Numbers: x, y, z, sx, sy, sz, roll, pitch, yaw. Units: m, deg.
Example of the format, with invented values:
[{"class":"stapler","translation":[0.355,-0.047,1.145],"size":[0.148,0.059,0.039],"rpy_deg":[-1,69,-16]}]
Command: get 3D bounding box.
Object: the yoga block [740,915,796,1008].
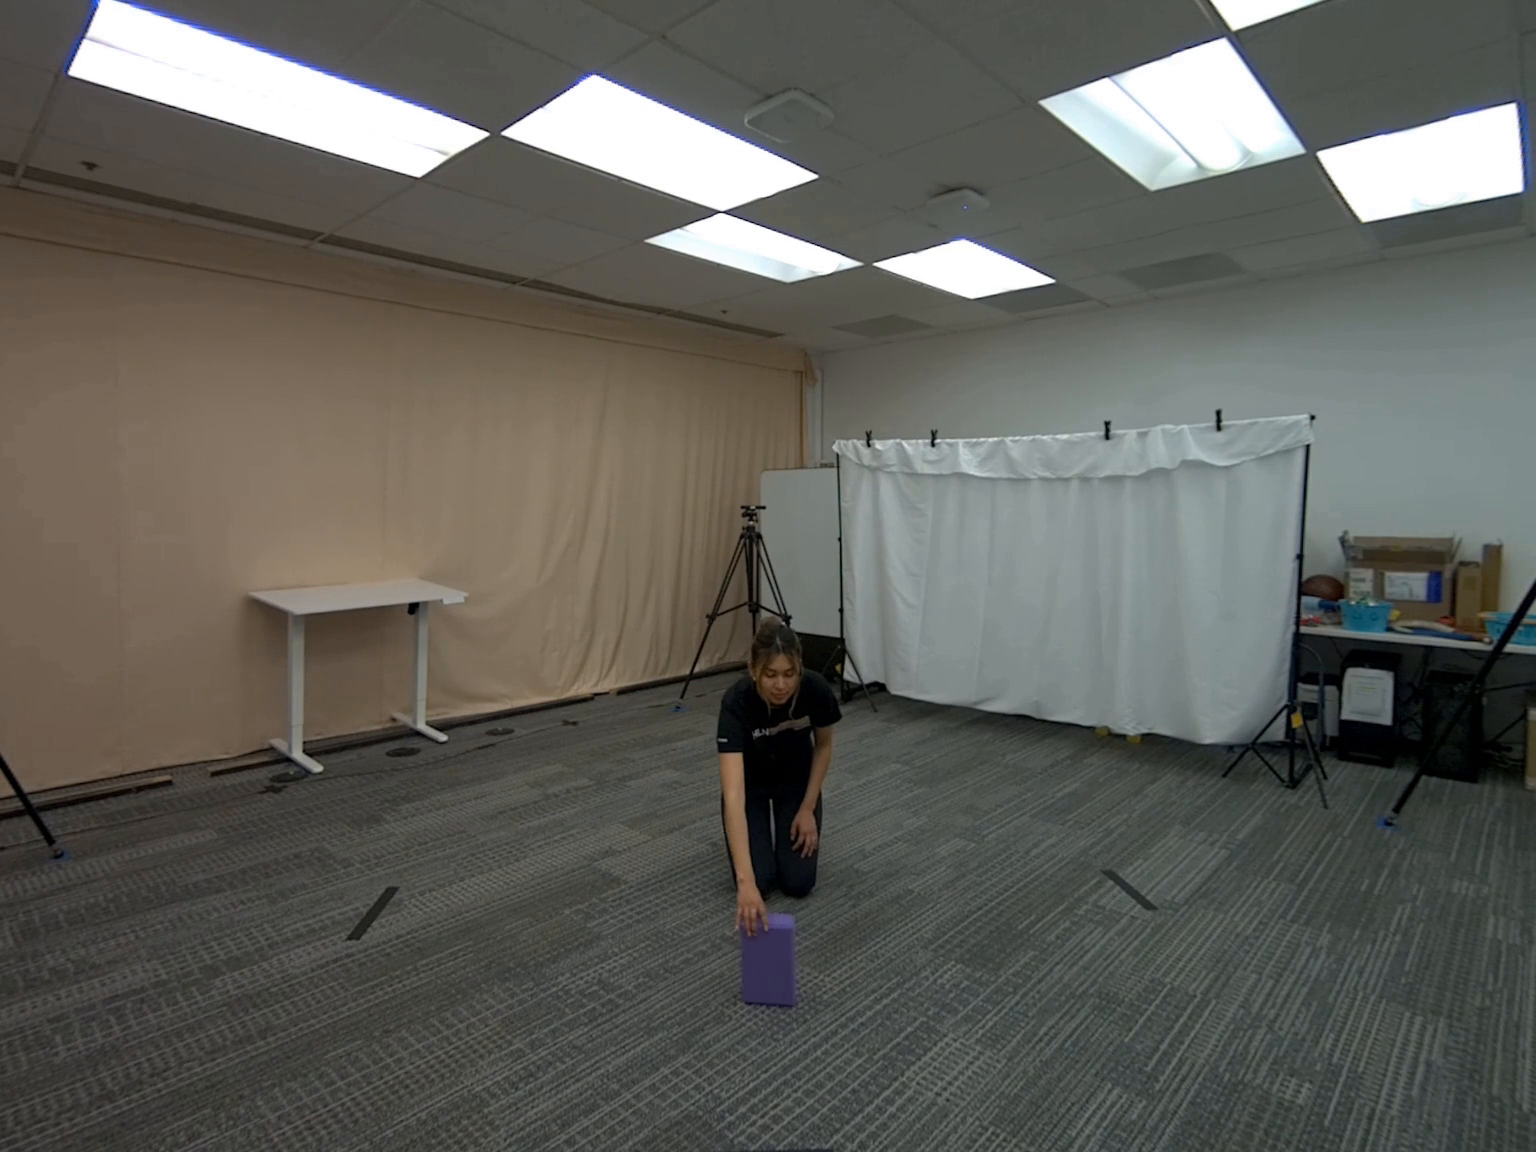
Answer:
[{"class":"yoga block","translation":[0.001,1.072,2.372],"size":[0.150,0.229,0.076],"rpy_deg":[0,4,8]}]
